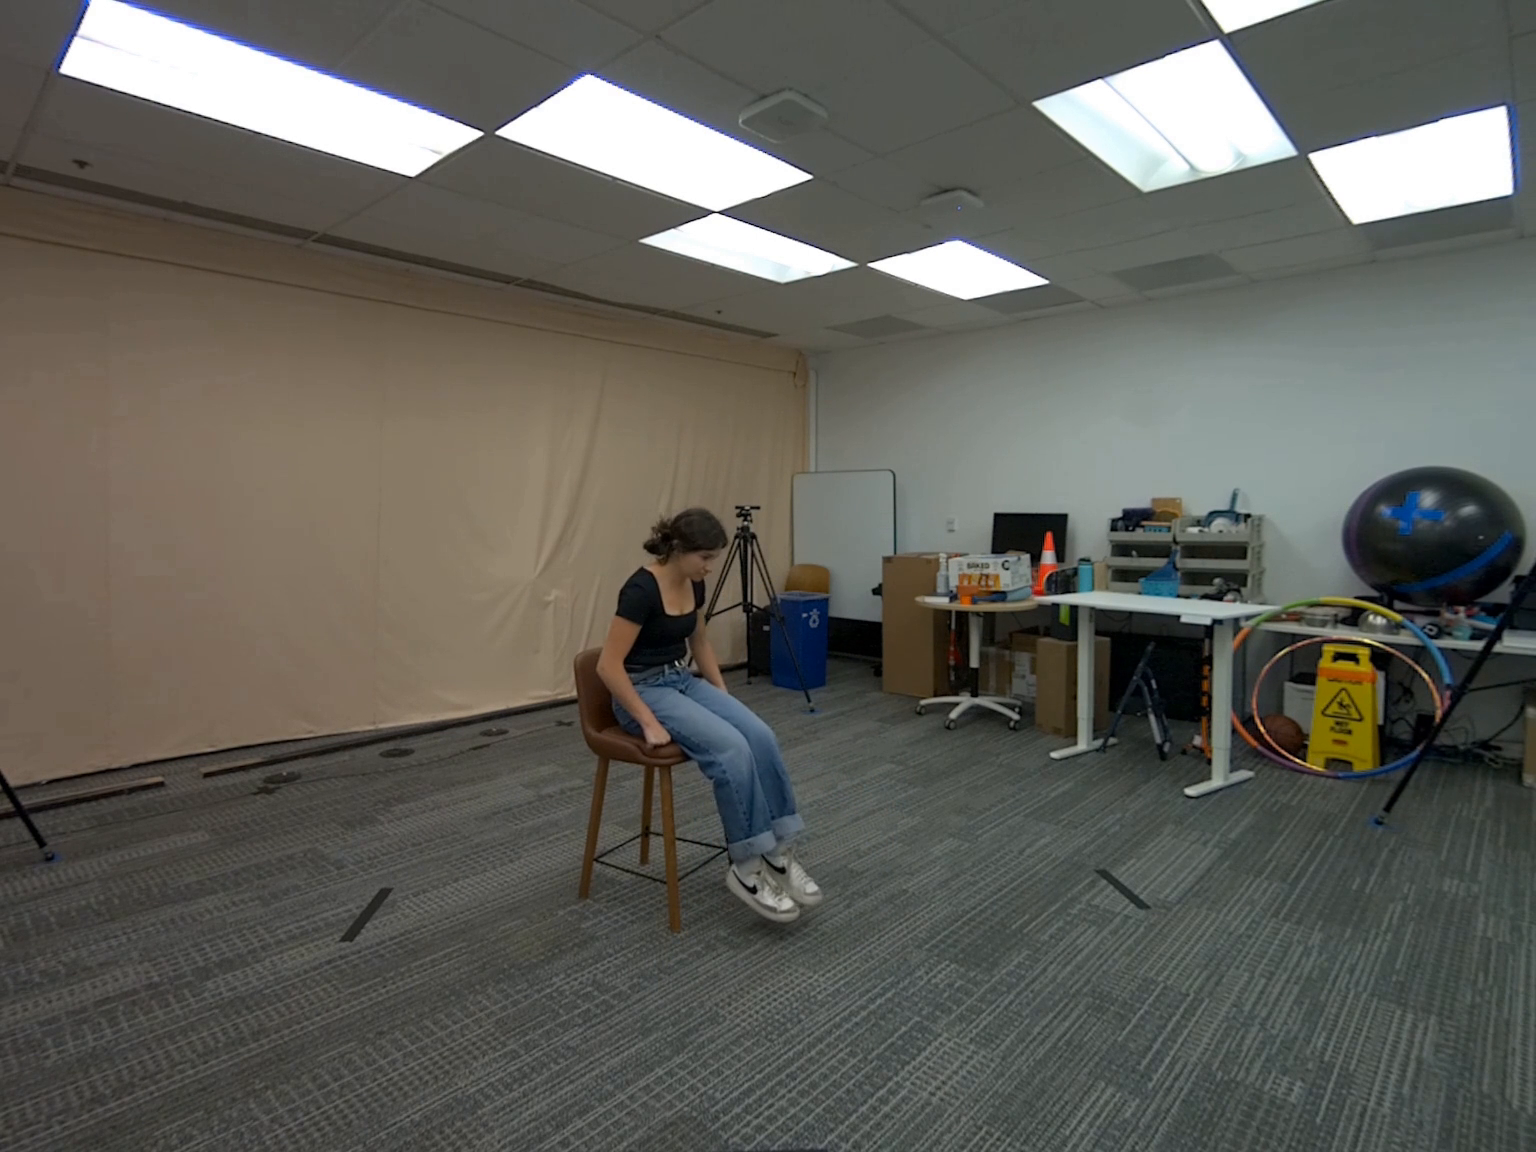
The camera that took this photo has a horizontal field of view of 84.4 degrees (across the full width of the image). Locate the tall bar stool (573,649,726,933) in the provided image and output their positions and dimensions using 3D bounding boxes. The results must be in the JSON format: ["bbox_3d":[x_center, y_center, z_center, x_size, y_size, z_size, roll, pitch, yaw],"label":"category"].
[{"bbox_3d":[-0.402,0.710,3.022,0.481,0.889,0.444,0,2,32],"label":"tall bar stool"}]
